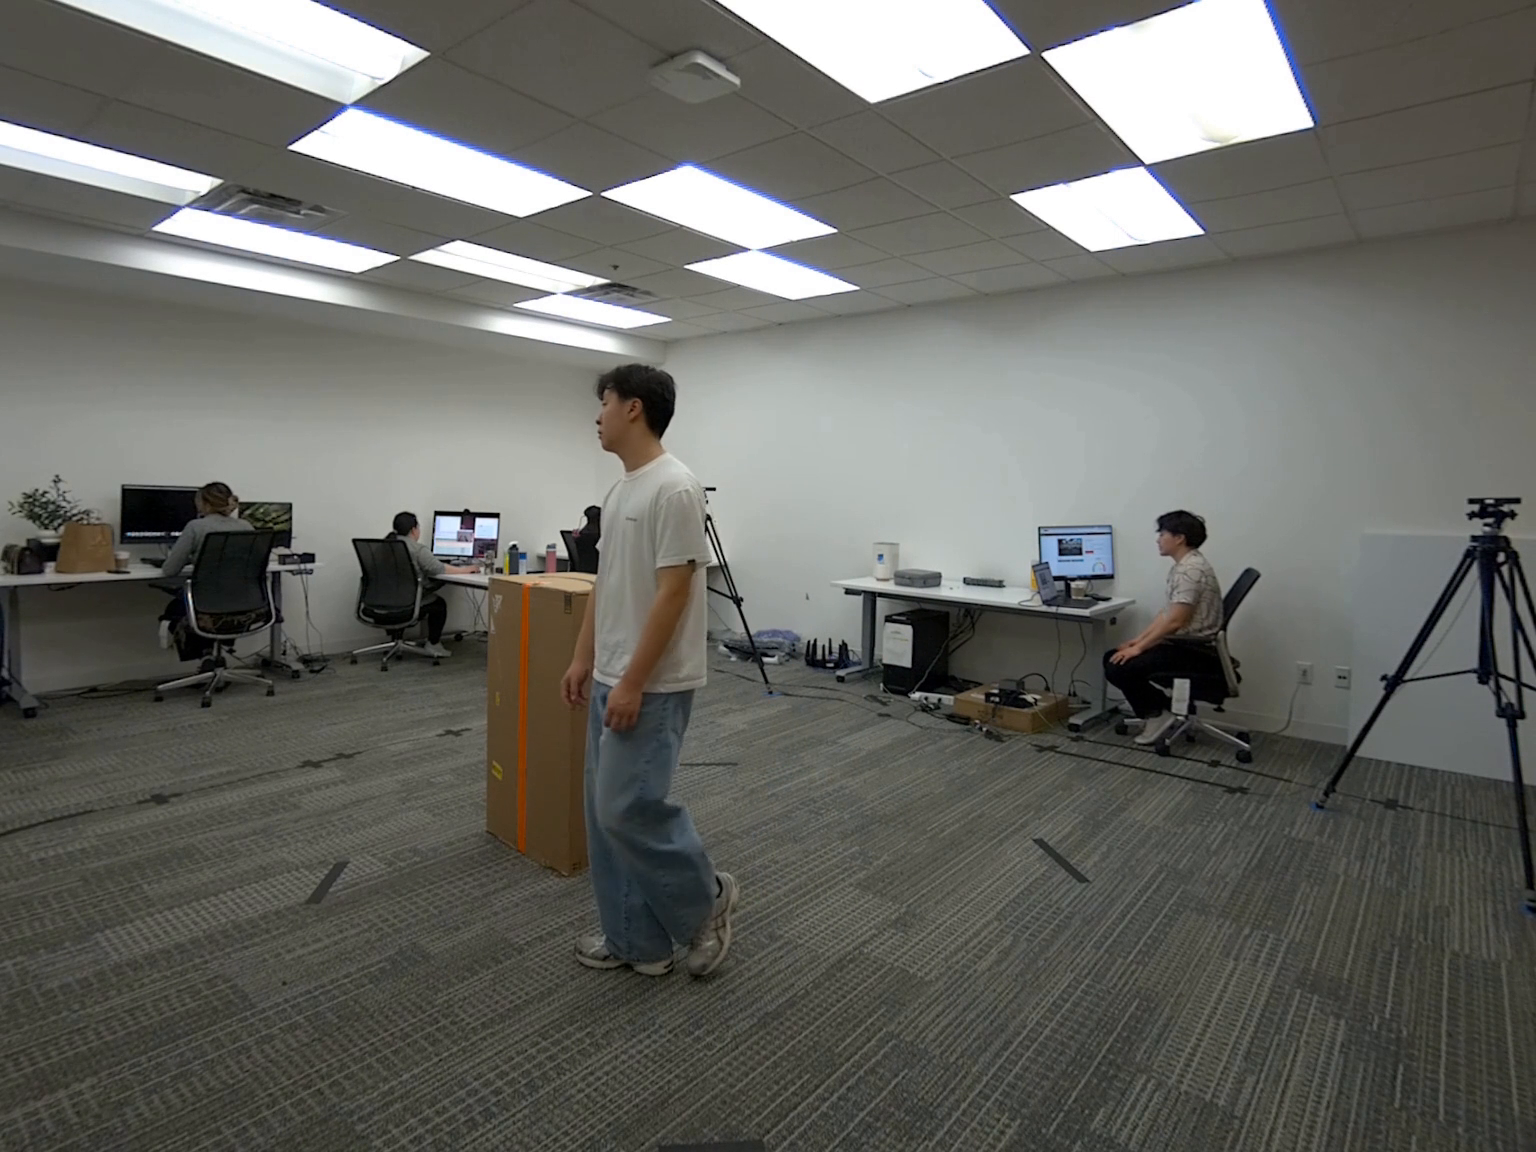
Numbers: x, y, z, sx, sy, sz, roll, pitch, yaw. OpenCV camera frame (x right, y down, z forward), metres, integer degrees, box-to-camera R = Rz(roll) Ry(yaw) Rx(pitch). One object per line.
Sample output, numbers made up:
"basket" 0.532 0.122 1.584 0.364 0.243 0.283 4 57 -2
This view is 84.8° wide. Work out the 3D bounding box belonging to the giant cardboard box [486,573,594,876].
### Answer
"giant cardboard box" -0.783 0.526 3.329 0.597 1.023 0.413 5 4 43
